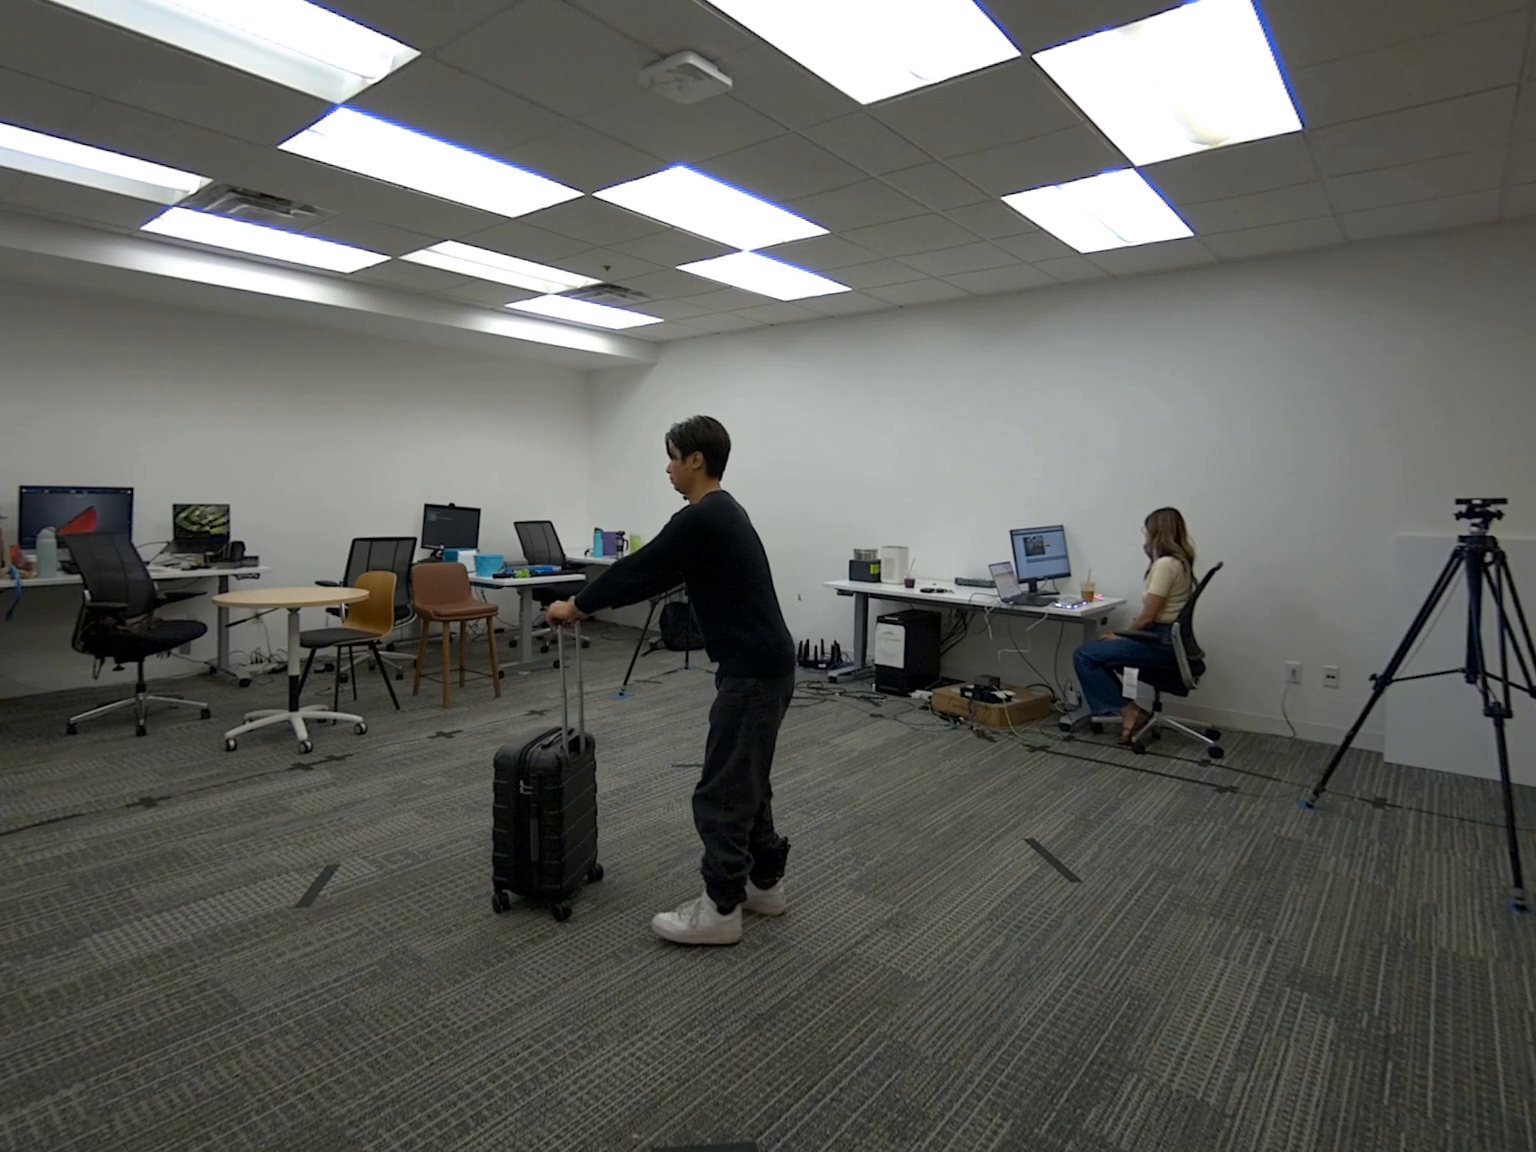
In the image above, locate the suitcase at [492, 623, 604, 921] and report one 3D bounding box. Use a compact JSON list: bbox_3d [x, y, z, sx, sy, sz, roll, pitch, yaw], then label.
[{"bbox_3d":[-0.774,0.607,2.900,0.261,0.978,0.379,-3,1,12],"label":"suitcase"}]
